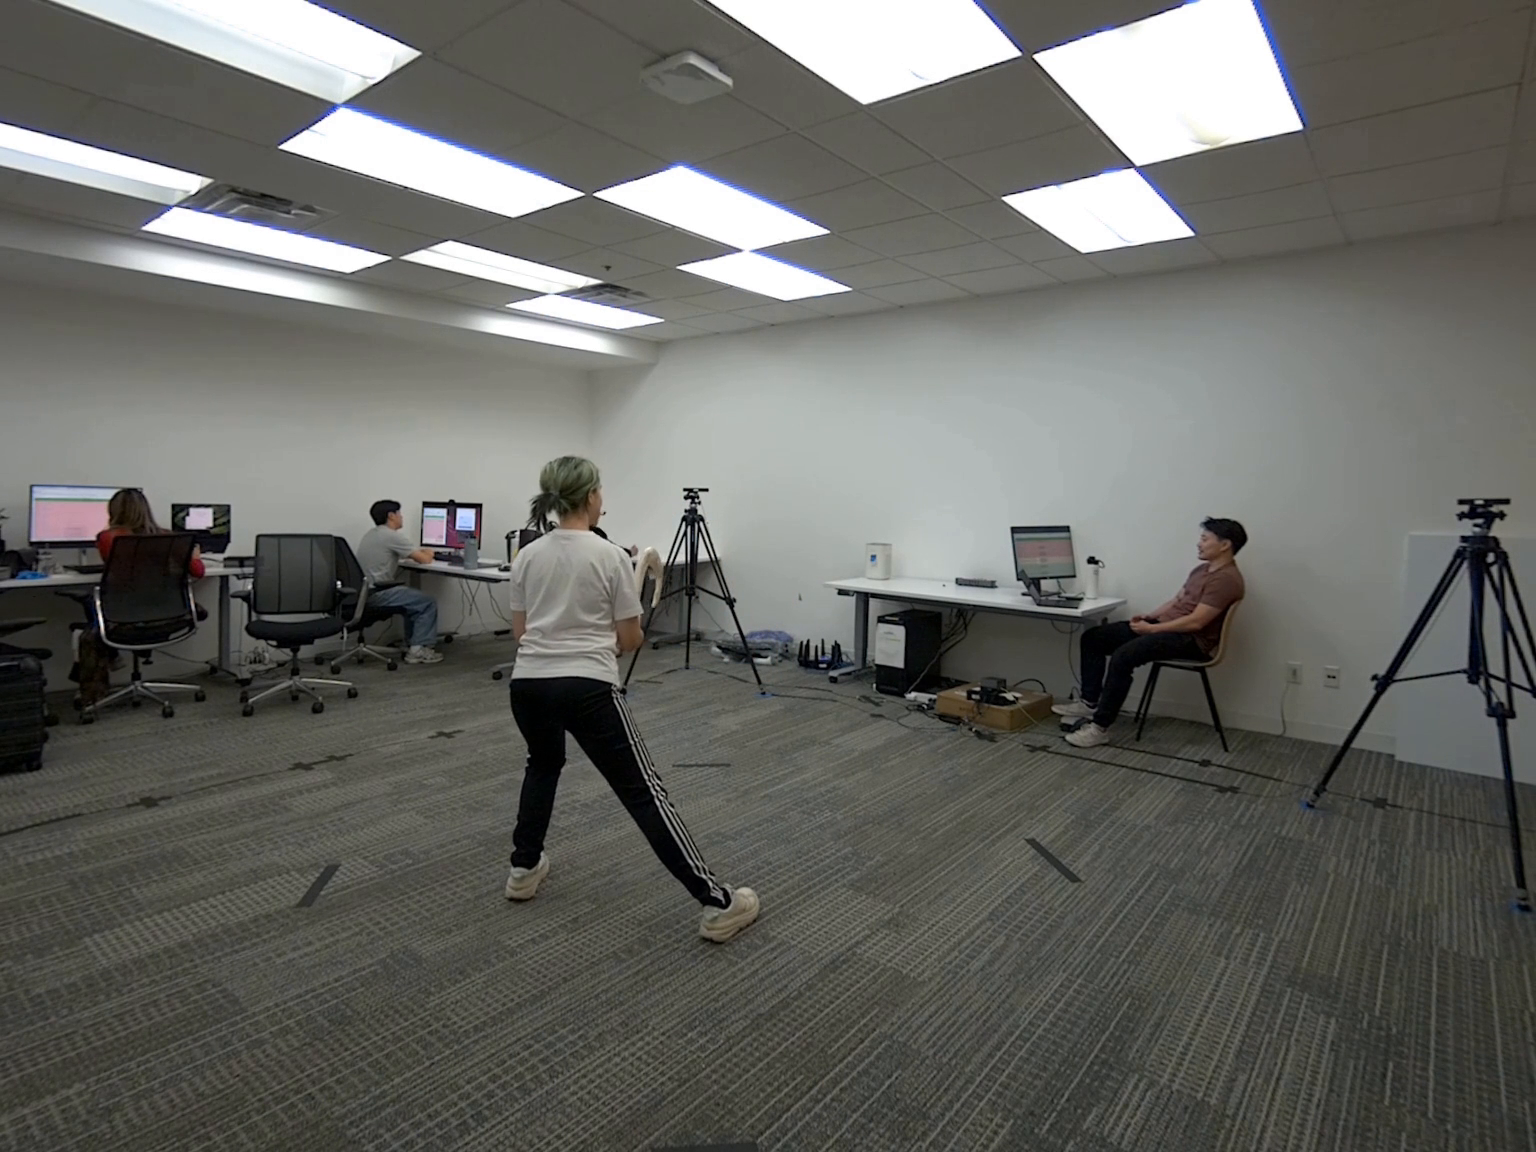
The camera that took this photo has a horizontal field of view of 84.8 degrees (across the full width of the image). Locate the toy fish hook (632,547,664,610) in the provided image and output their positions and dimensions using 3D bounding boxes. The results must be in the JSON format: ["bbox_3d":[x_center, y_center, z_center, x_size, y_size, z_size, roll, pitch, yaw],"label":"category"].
[{"bbox_3d":[-0.501,0.118,3.273,0.049,0.516,0.216,-2,-39,22],"label":"toy fish hook"}]
